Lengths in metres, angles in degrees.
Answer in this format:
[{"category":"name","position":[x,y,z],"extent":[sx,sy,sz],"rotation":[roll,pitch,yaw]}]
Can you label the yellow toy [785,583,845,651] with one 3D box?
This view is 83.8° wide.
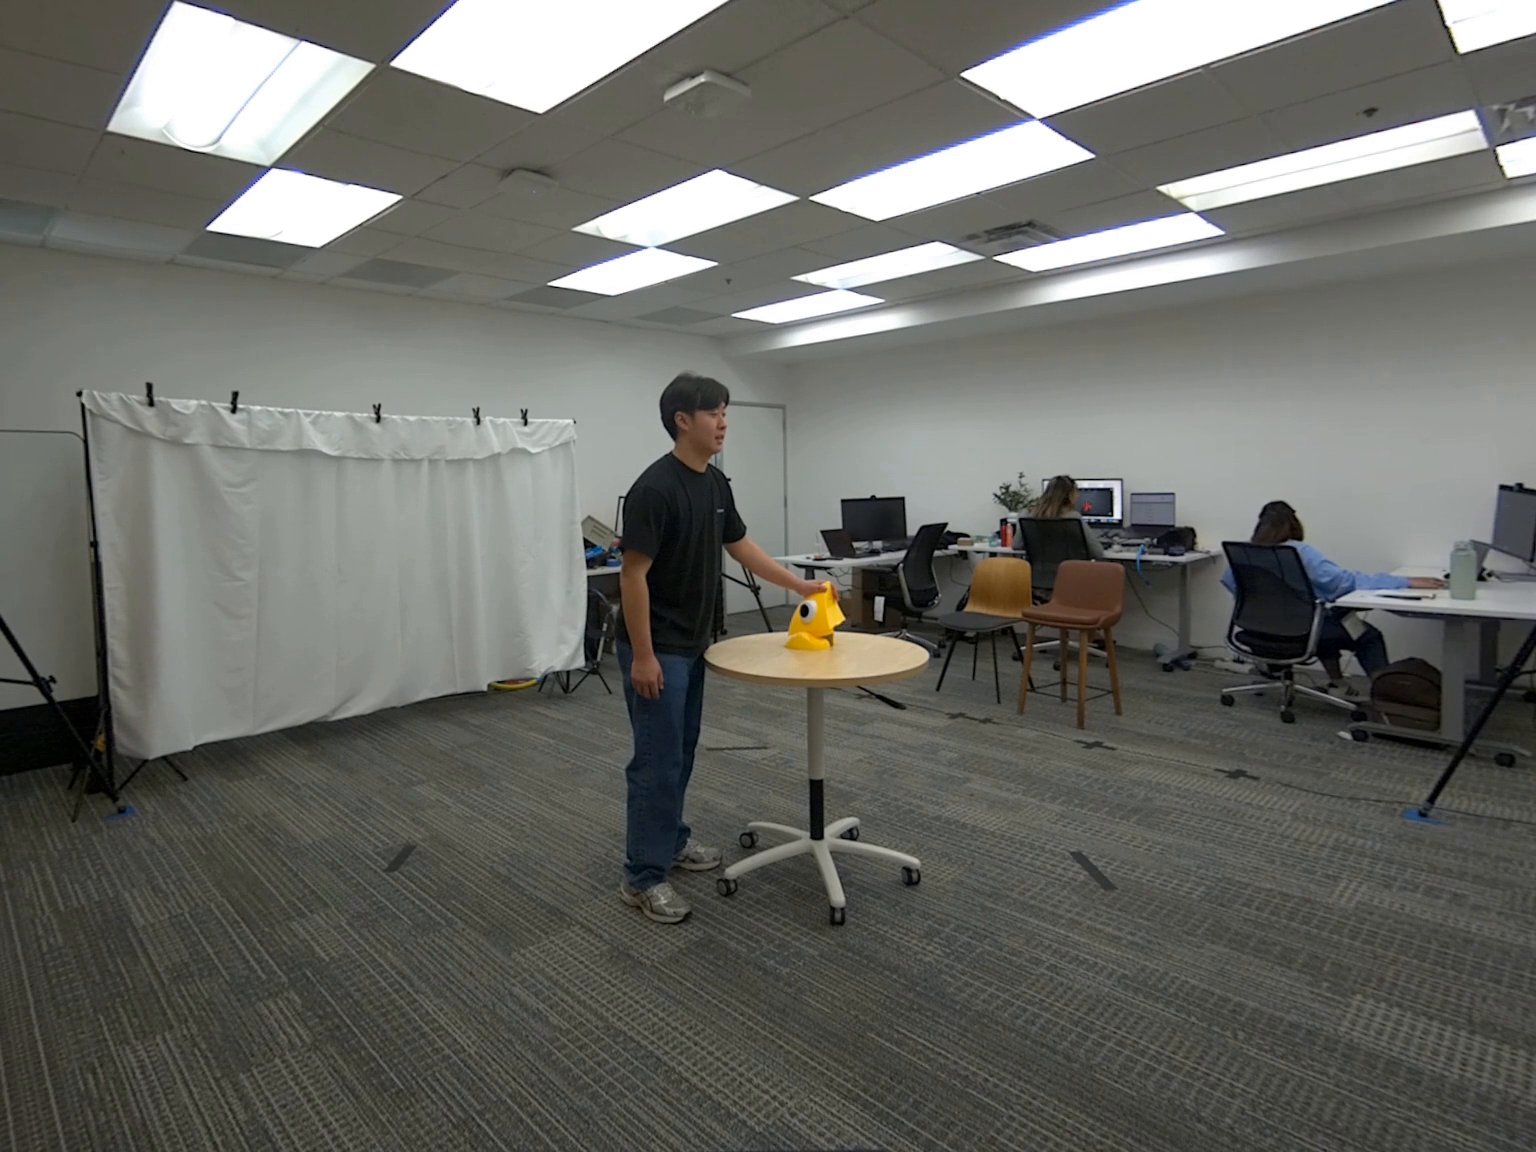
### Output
[{"category":"yellow toy","position":[0.165,0.134,3.056],"extent":[0.197,0.230,0.201],"rotation":[1,5,21]}]
